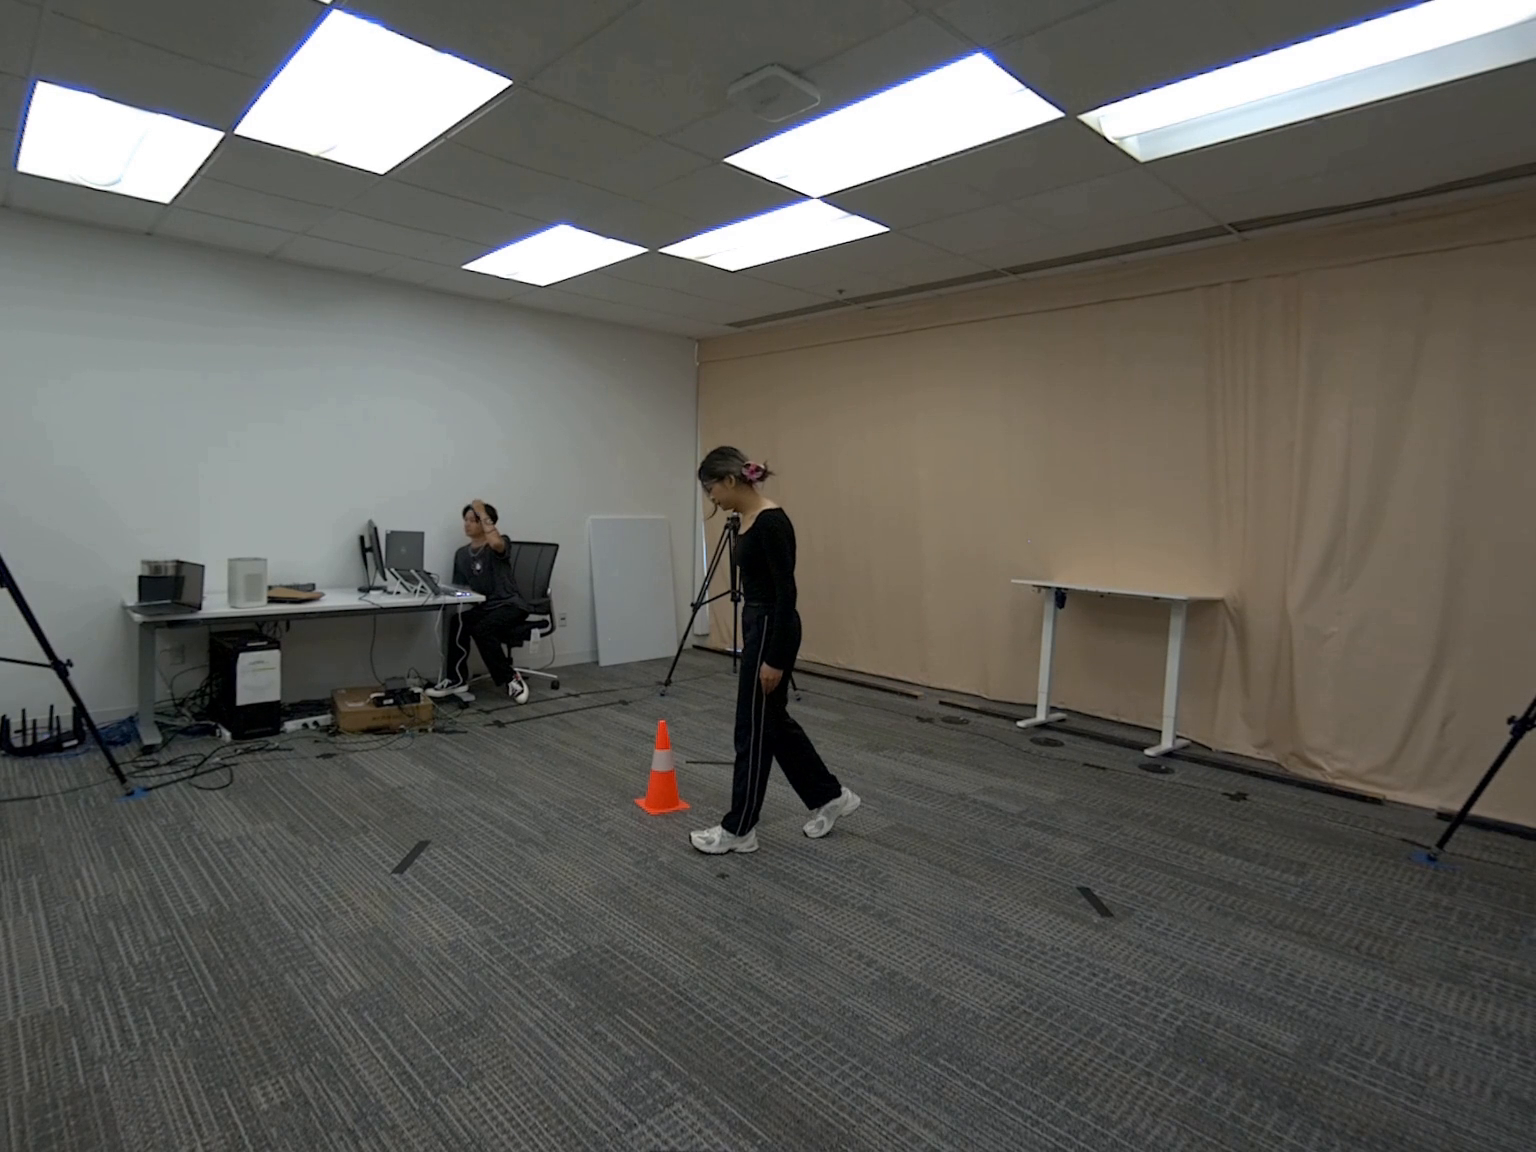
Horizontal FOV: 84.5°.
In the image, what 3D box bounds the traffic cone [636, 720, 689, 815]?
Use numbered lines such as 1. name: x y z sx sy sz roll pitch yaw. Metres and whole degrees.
1. traffic cone: -0.488 0.850 3.826 0.199 0.383 0.209 0 2 -32
